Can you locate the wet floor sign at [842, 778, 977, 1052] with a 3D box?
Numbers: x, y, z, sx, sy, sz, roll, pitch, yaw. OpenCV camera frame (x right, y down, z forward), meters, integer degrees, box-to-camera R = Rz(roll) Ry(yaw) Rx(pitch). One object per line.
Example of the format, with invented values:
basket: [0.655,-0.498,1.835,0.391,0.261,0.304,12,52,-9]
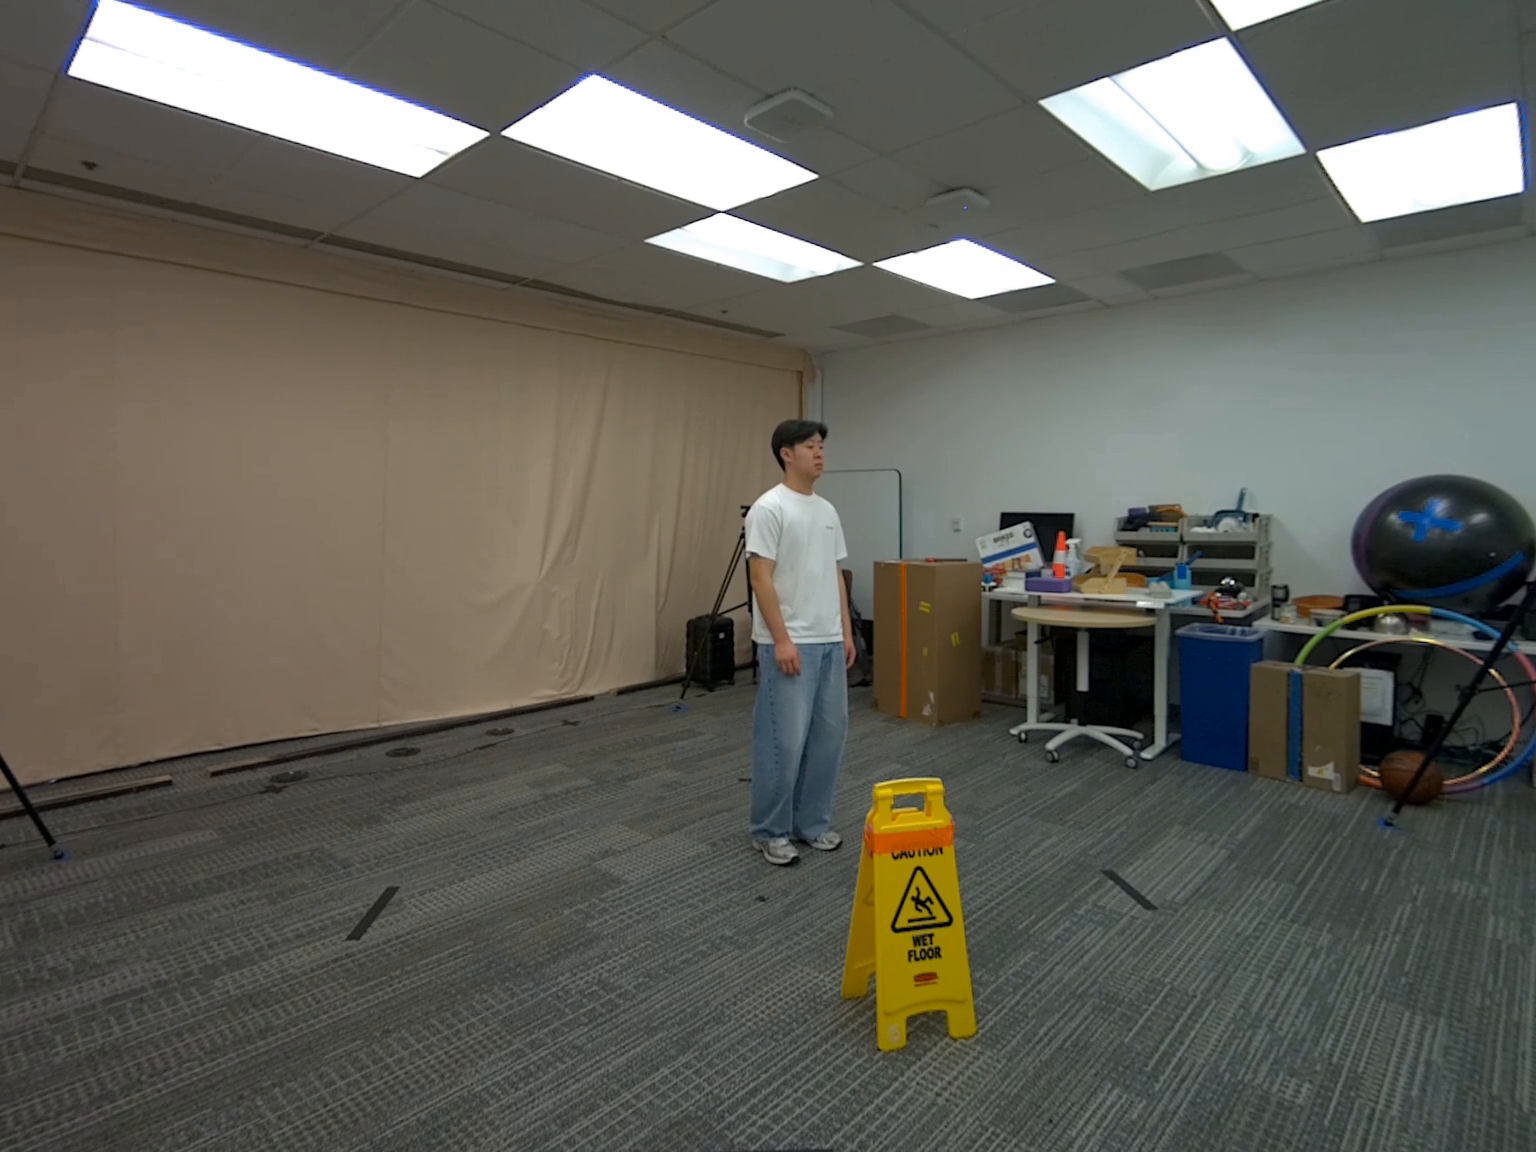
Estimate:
wet floor sign: [0.364,0.881,2.281,0.278,0.645,0.295,-1,3,-16]
